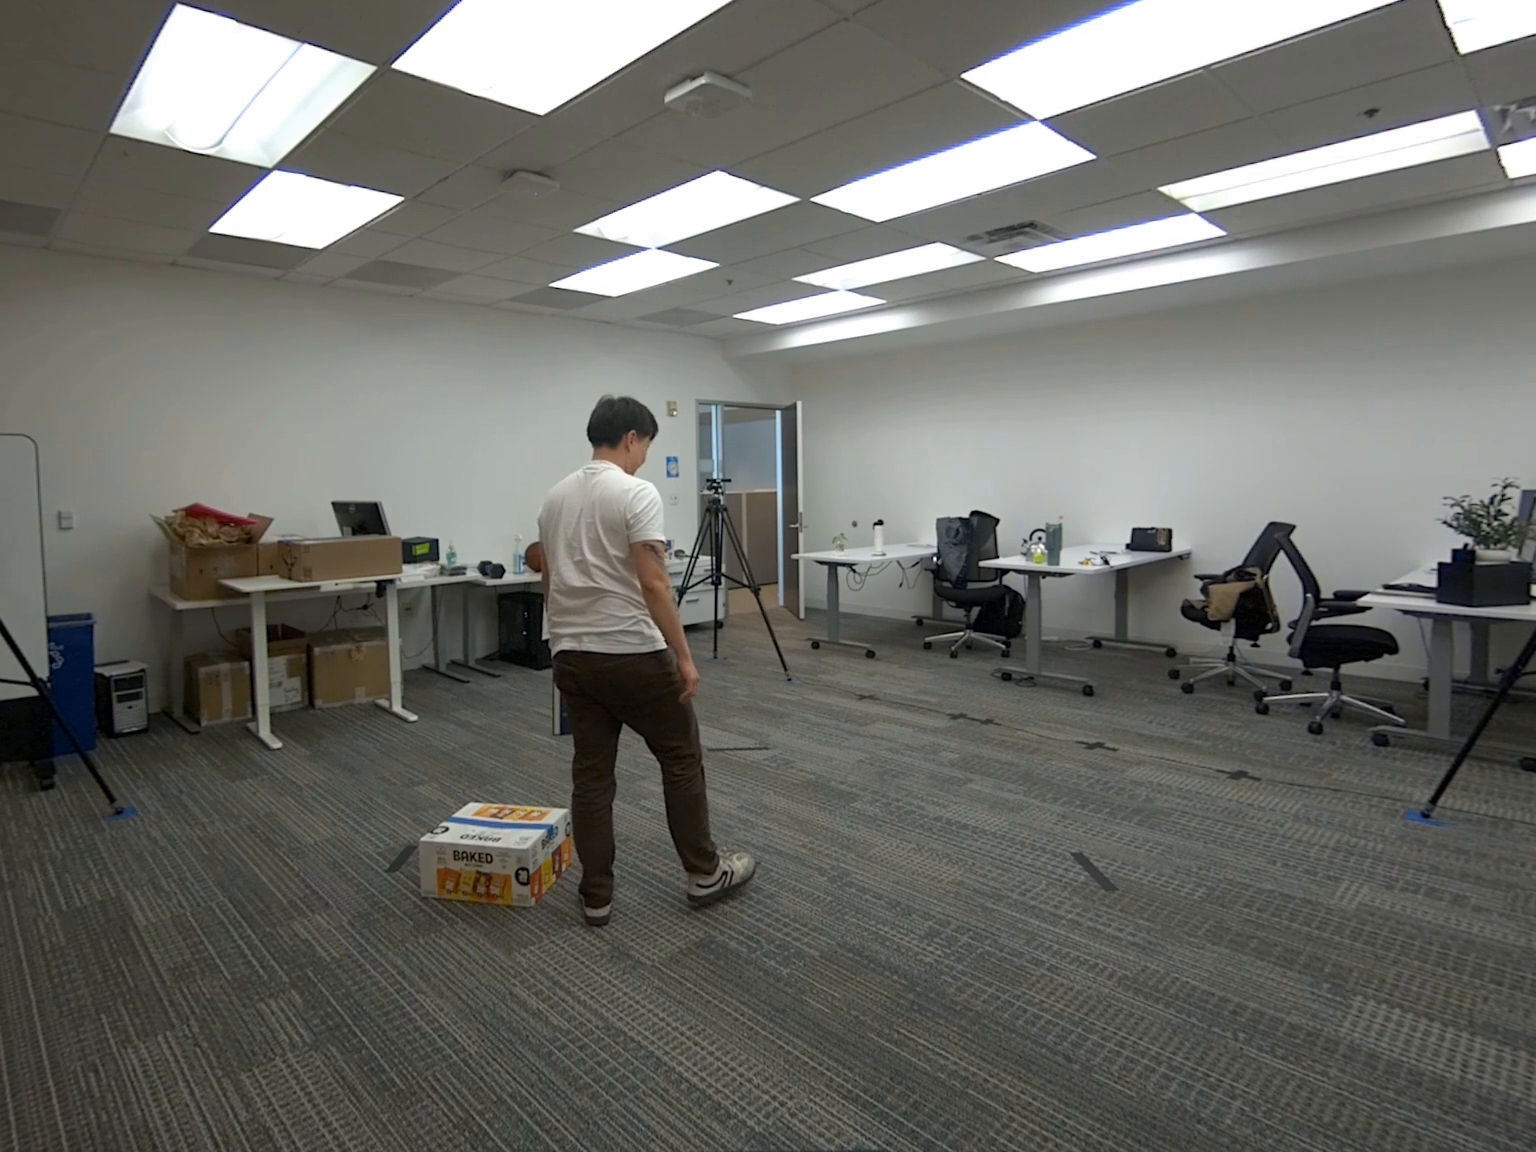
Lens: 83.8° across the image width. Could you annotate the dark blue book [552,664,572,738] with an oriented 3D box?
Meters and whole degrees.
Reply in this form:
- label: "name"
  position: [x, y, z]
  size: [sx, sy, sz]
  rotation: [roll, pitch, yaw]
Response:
- label: "dark blue book"
  position: [-0.669, 0.428, 2.975]
  size: [0.046, 0.247, 0.158]
  rotation: [-10, -11, 38]
